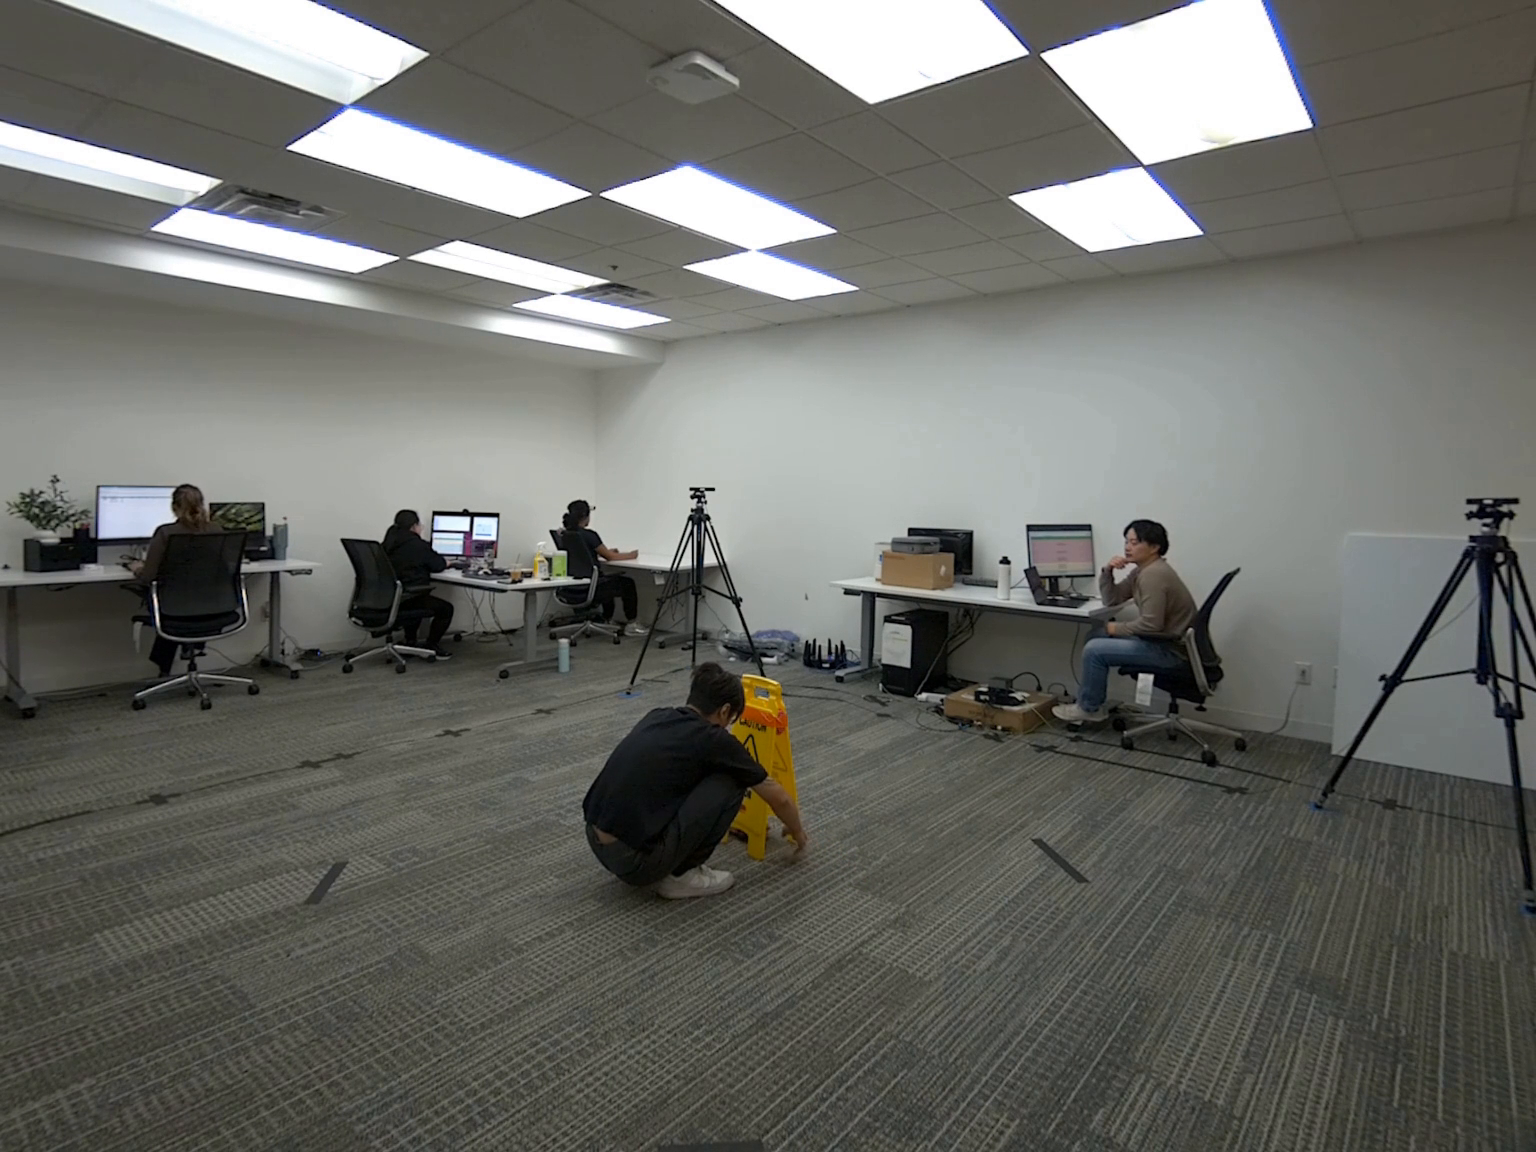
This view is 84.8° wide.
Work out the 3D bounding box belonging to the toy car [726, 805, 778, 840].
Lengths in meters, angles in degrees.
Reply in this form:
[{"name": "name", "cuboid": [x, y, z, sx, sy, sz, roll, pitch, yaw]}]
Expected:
[{"name": "toy car", "cuboid": [-0.106, 1.004, 3.440, 0.261, 0.083, 0.126, -9, -4, 44]}]
